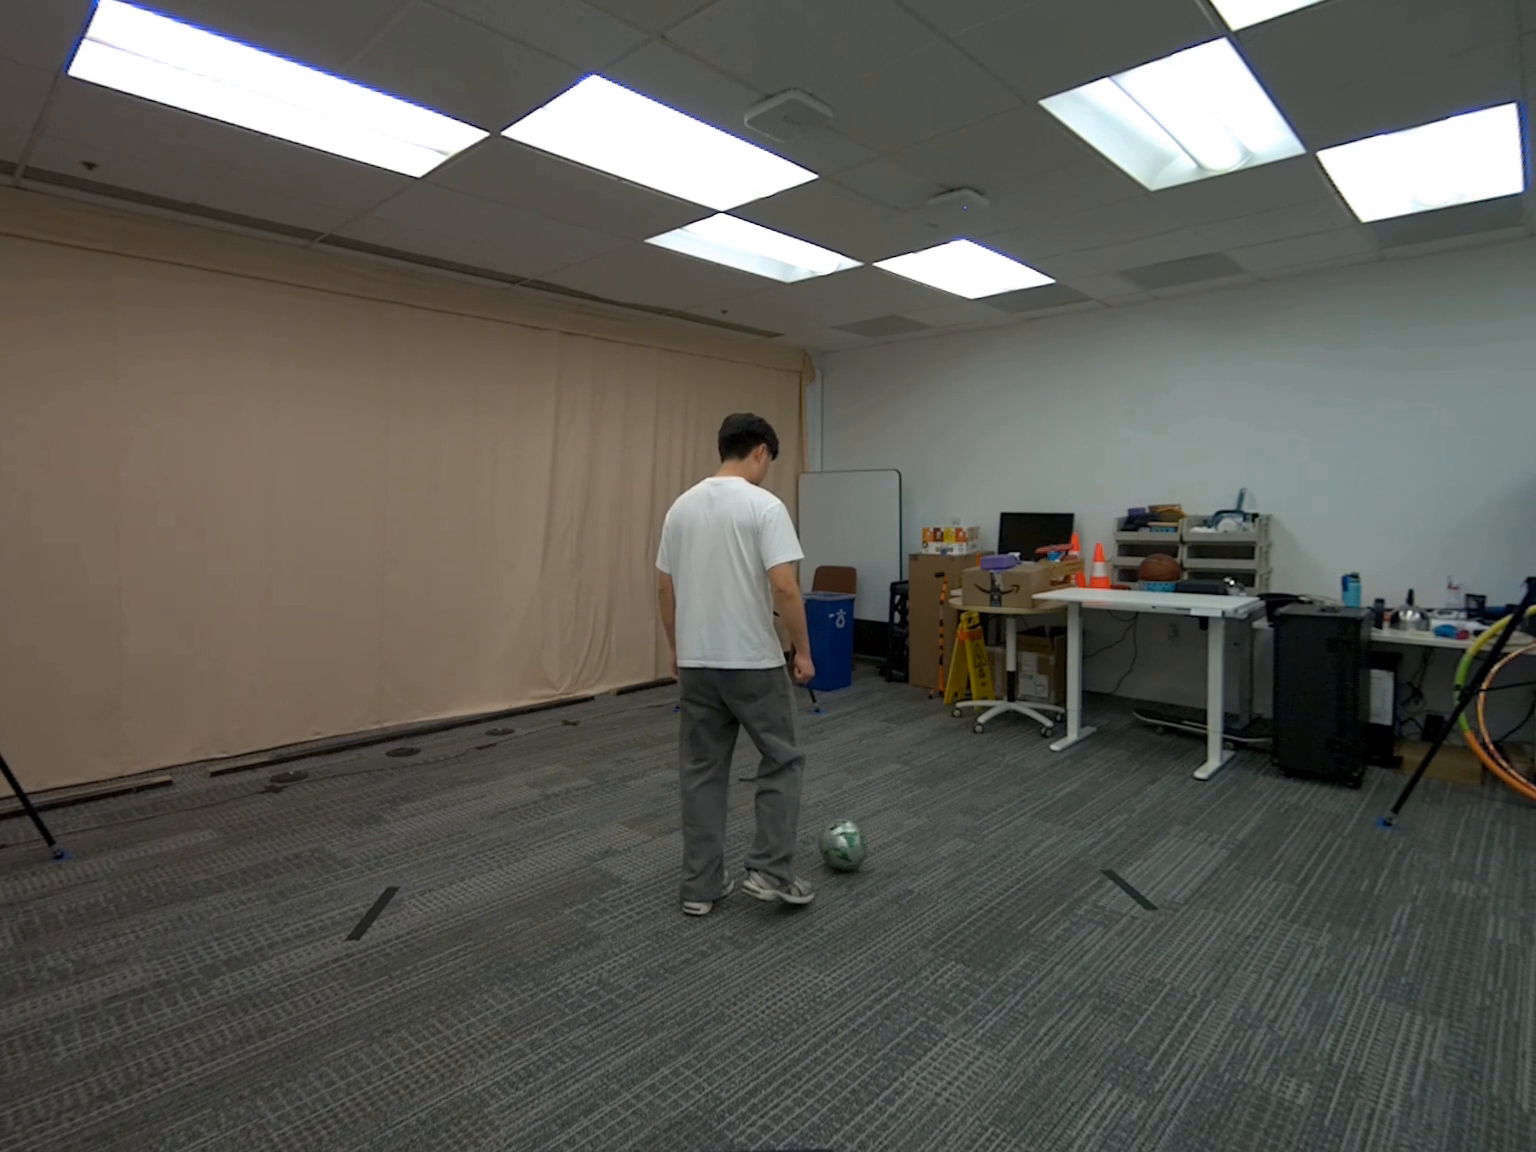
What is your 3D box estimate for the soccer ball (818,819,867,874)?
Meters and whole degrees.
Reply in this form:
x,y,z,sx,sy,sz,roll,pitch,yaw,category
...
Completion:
x,y,z,sx,sy,sz,roll,pitch,yaw,category
0.290,1.023,3.216,0.187,0.187,0.188,0,4,-2,soccer ball
